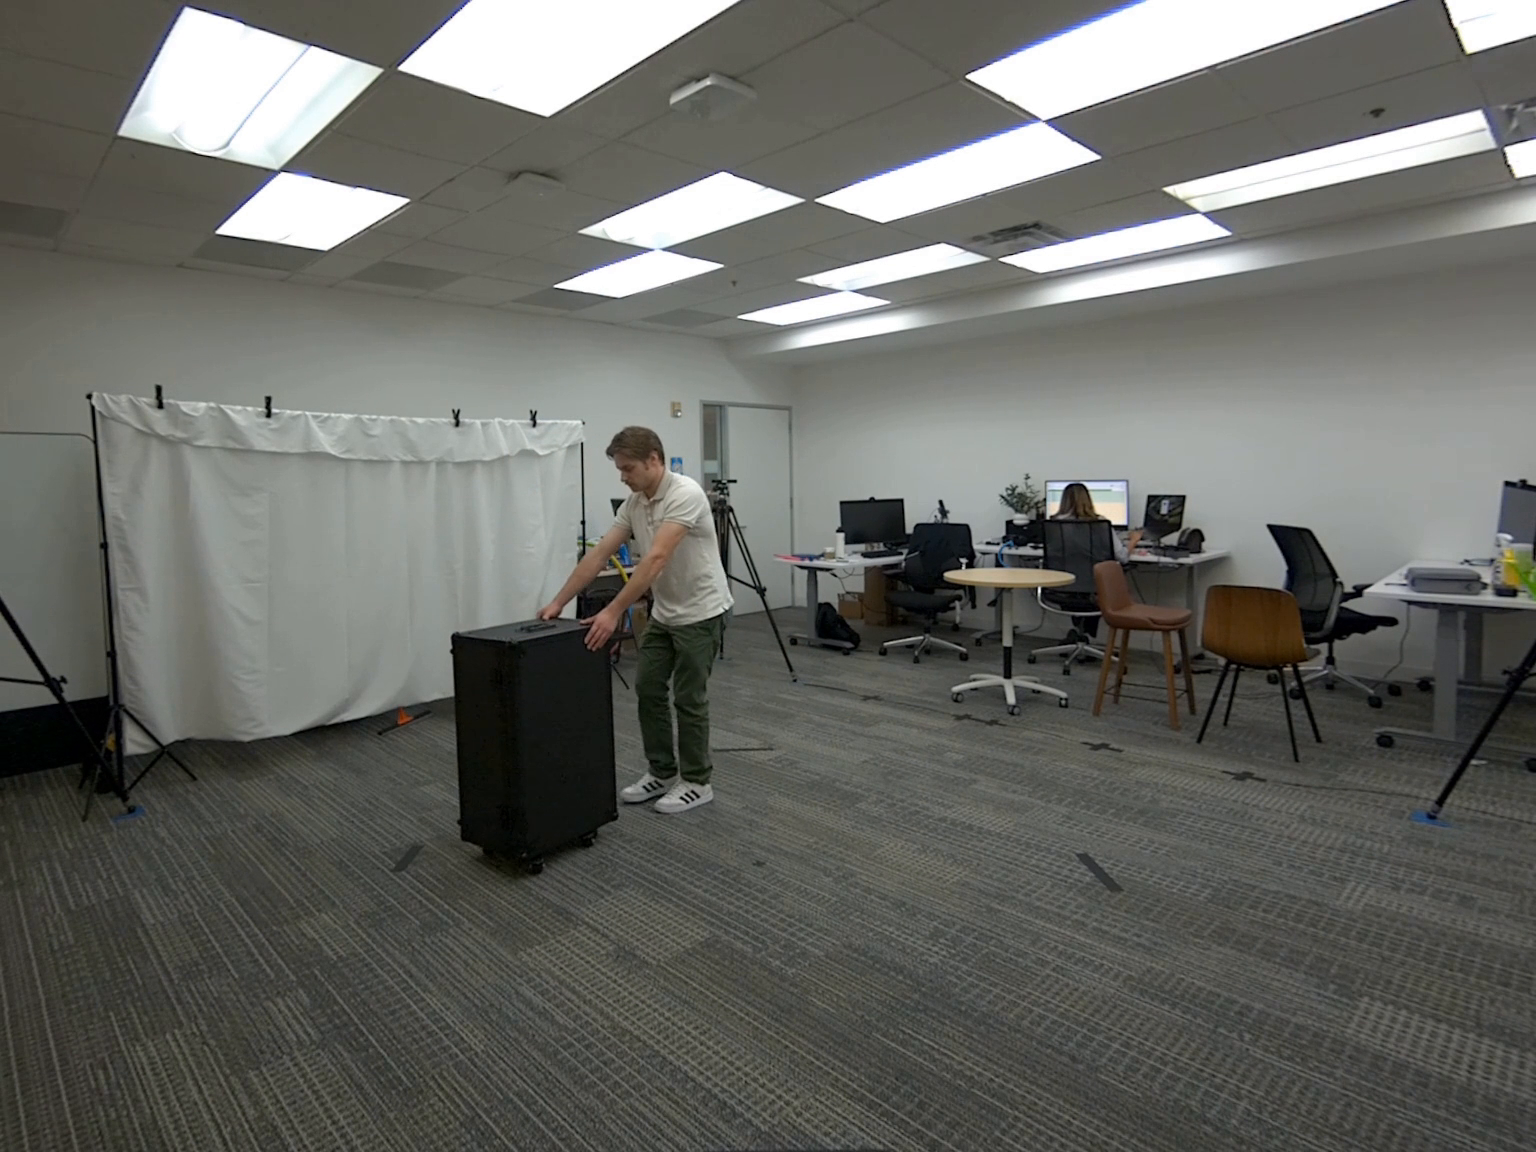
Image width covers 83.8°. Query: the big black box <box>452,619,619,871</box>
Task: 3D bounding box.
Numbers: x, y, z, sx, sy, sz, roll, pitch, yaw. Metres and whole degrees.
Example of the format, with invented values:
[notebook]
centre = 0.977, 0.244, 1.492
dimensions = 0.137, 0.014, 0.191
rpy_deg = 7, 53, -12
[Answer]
[big black box]
centre = -0.891, 0.624, 3.262
dimensions = 0.396, 0.866, 0.510
rpy_deg = 1, 4, 35
